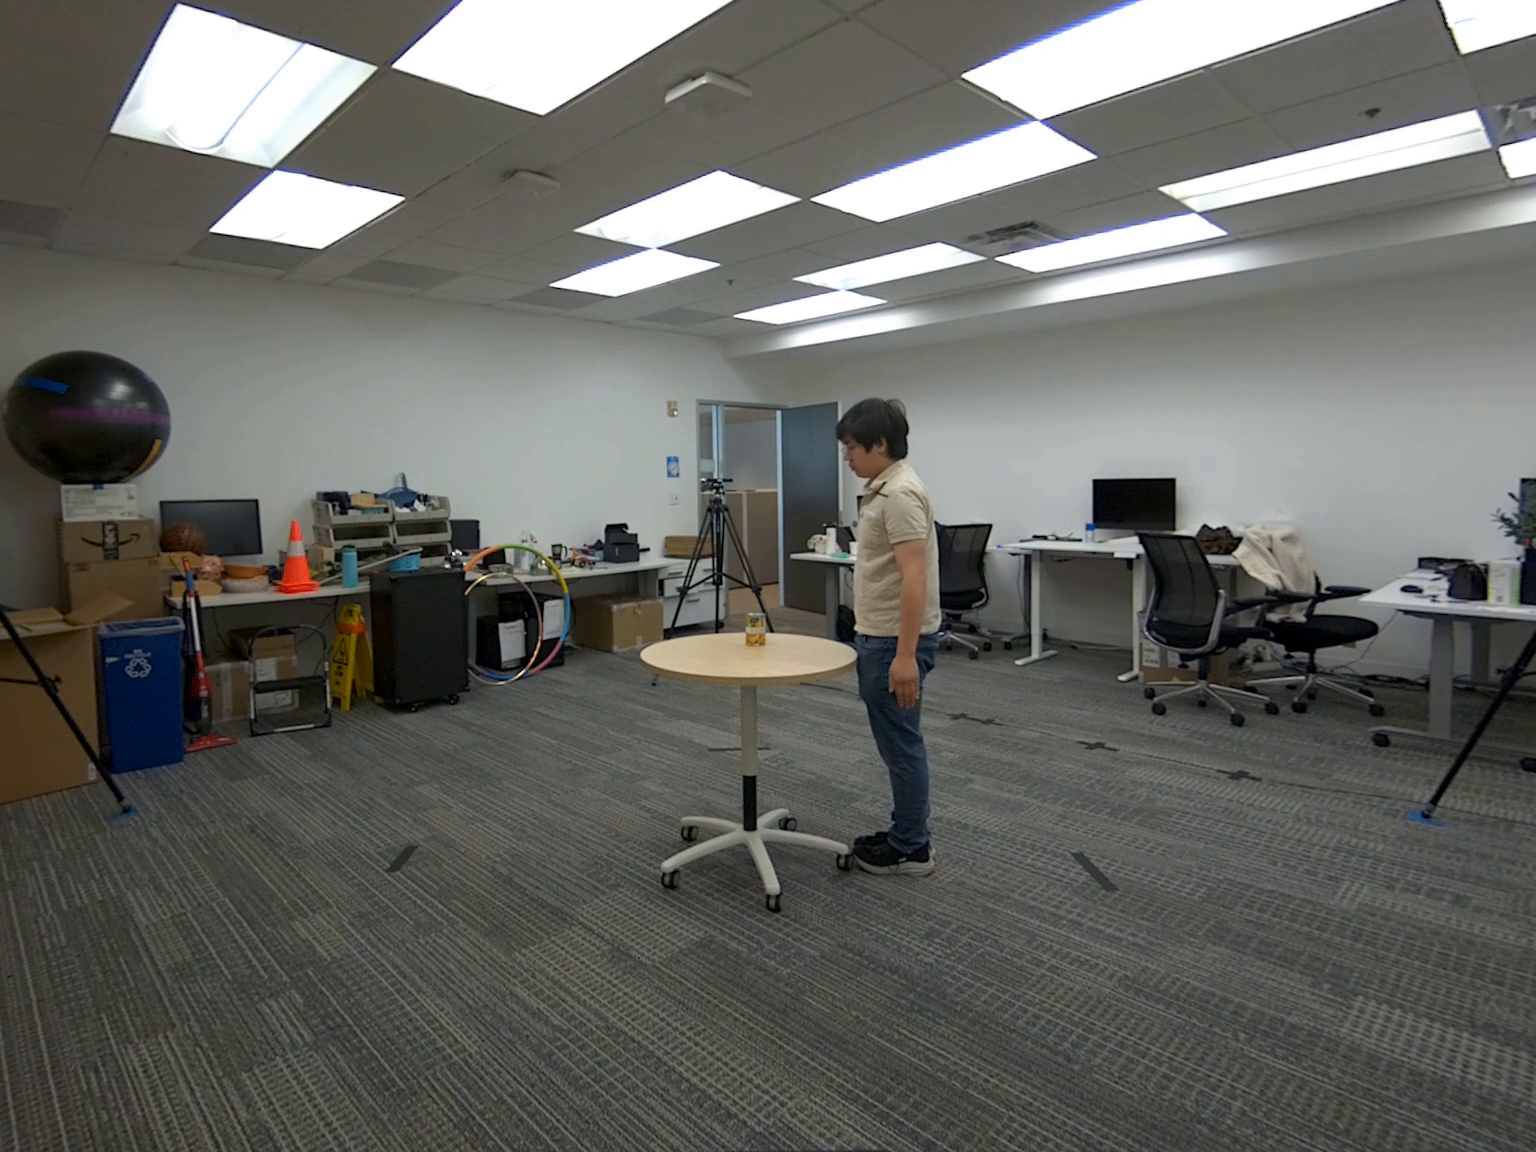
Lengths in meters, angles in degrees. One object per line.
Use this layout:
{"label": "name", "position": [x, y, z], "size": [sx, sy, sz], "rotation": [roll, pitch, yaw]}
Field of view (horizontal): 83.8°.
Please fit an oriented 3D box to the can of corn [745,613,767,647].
{"label": "can of corn", "position": [-0.040, 0.201, 3.176], "size": [0.074, 0.111, 0.074], "rotation": [1, 1, -2]}
